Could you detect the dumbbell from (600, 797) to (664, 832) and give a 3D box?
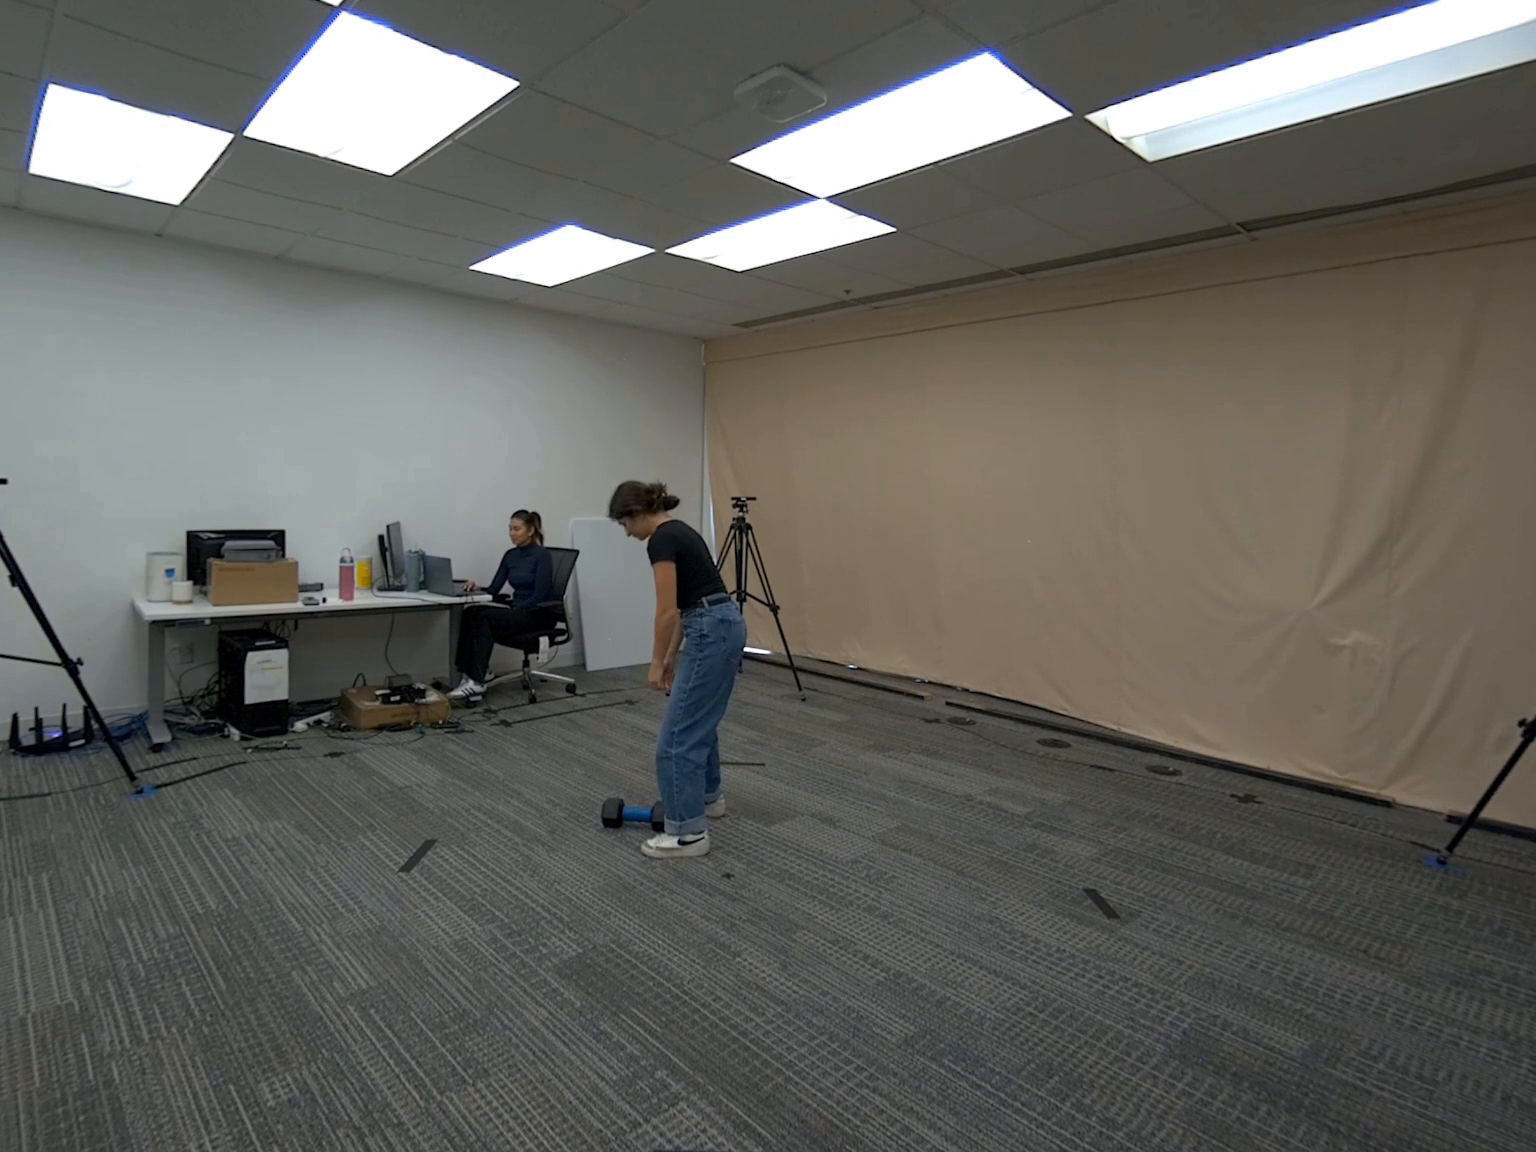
[{"bbox_3d":[-0.556,1.005,3.538,0.295,0.120,0.110,2,35,7],"label":"dumbbell"}]
